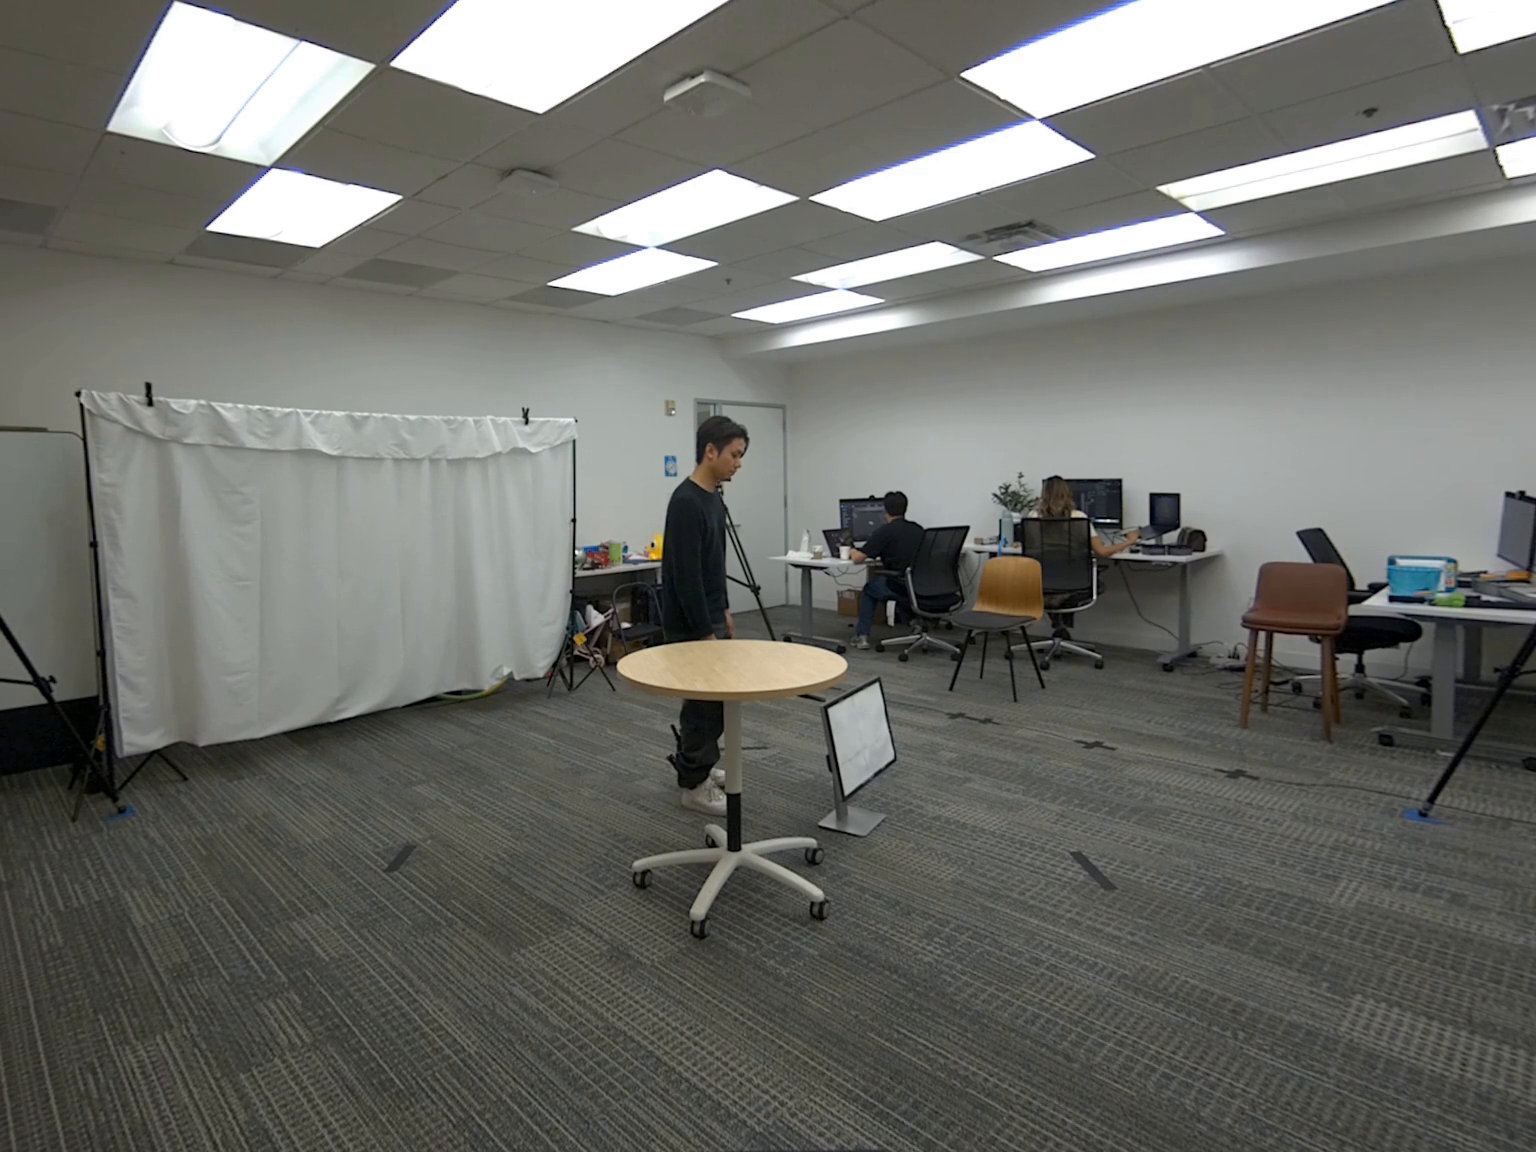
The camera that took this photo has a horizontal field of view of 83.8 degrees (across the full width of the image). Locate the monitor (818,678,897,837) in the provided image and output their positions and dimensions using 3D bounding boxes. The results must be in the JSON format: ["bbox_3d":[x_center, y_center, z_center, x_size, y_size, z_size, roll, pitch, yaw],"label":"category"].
[{"bbox_3d":[0.342,0.731,3.442,0.192,0.520,0.527,3,6,28],"label":"monitor"}]
